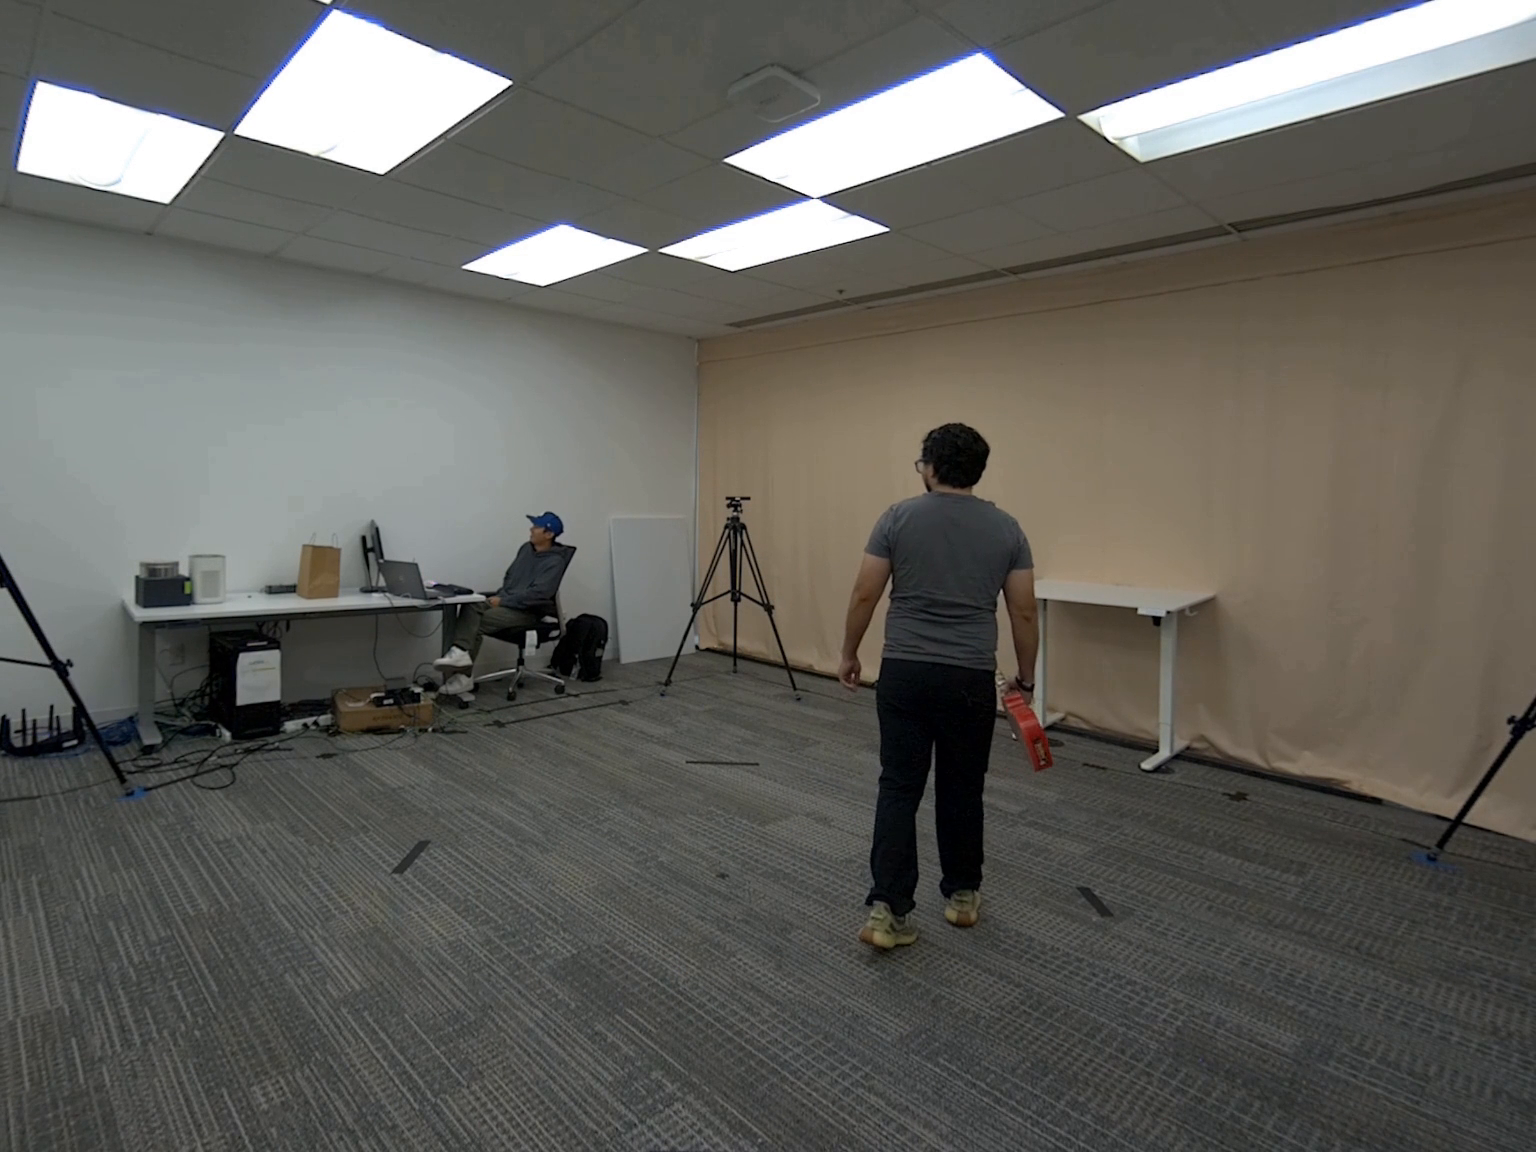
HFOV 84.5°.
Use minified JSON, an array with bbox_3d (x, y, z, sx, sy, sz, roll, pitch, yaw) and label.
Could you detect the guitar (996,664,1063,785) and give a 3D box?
[{"bbox_3d":[0.815,0.464,2.744,0.071,0.191,0.501,-17,11,5],"label":"guitar"}]
